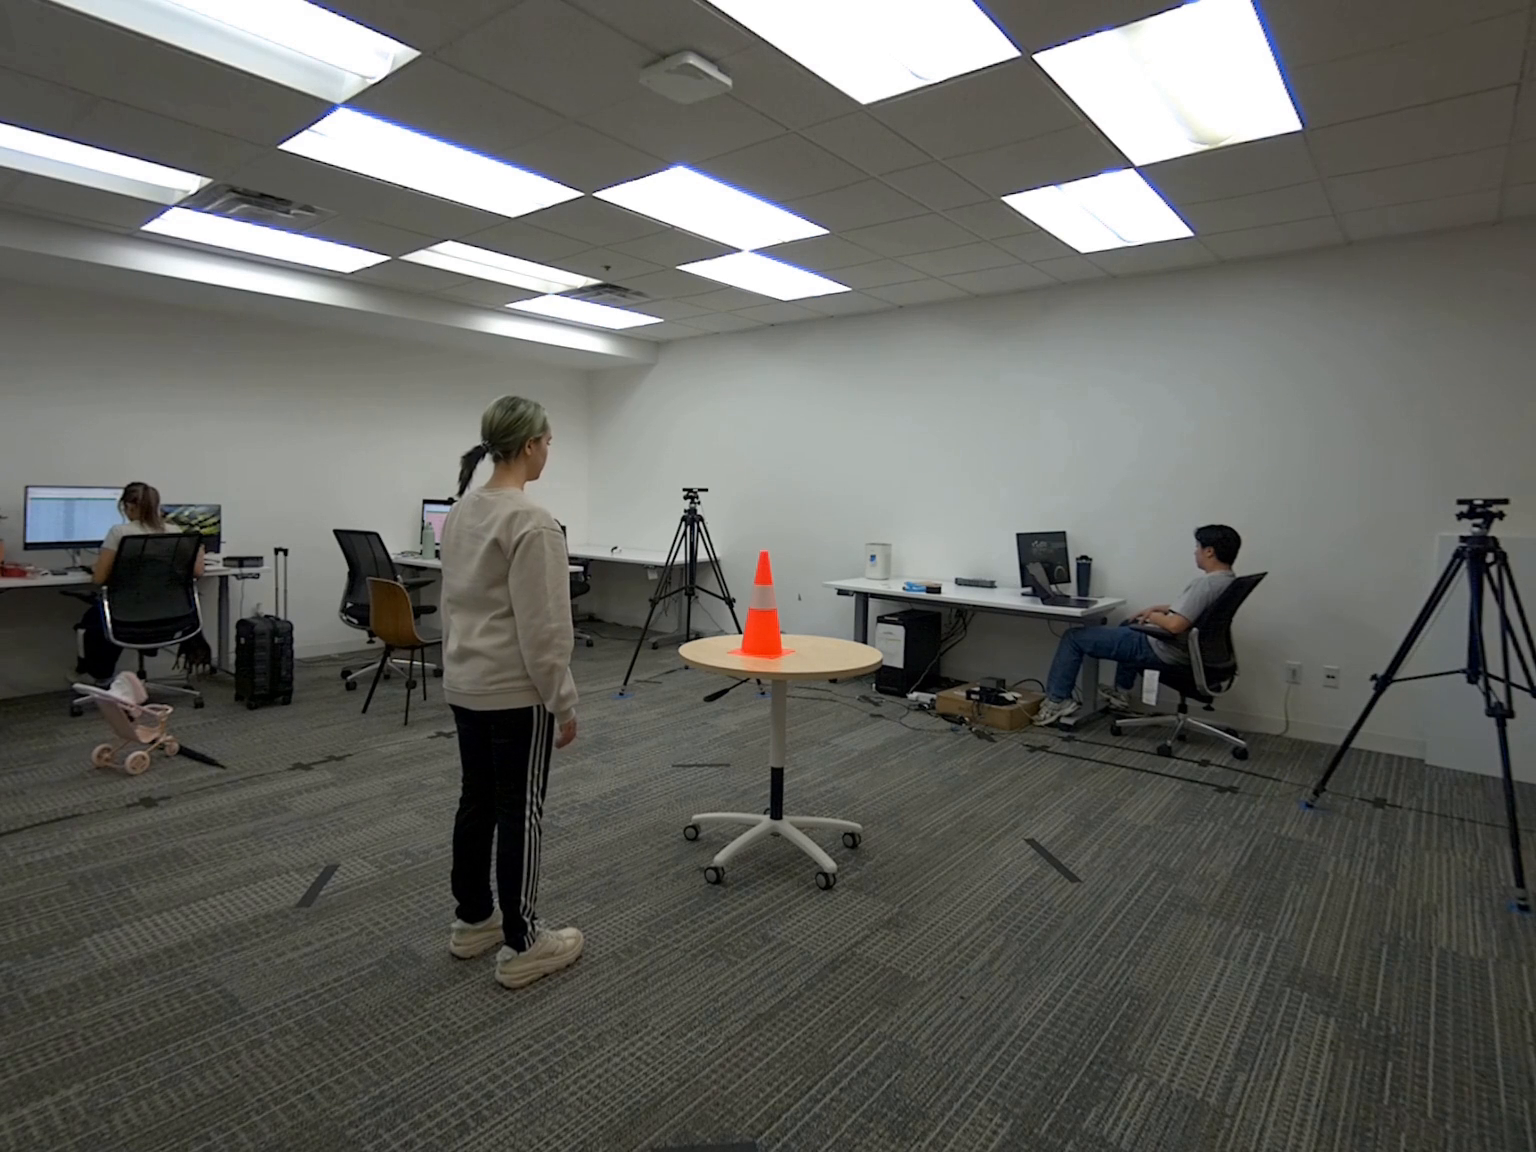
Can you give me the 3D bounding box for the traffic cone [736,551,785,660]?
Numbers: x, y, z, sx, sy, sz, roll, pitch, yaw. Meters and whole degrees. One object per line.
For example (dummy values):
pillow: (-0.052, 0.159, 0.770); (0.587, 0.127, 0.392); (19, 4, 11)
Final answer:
traffic cone: (-0.027, 0.096, 3.180); (0.211, 0.382, 0.198); (4, 4, 29)
